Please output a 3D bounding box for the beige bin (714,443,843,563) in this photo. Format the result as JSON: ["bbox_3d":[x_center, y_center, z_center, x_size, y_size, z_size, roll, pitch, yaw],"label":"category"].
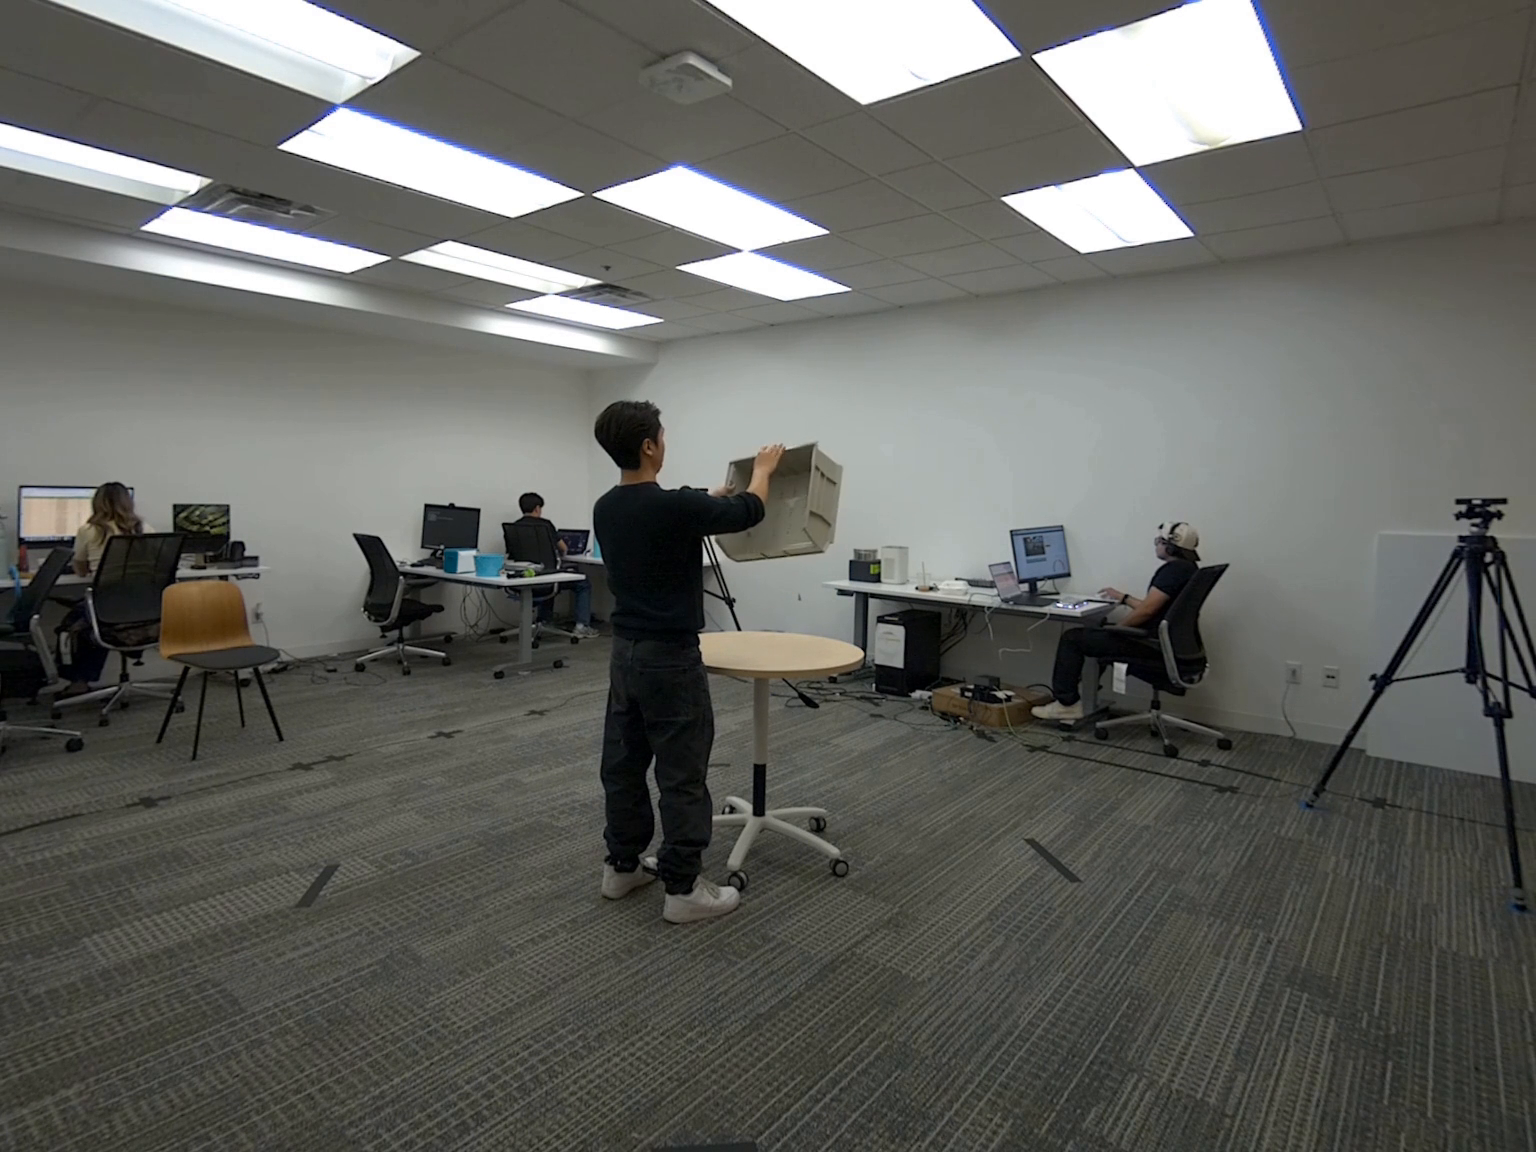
[{"bbox_3d":[0.036,-0.262,3.174,0.434,0.383,0.181,-7,-27,39],"label":"beige bin"}]
